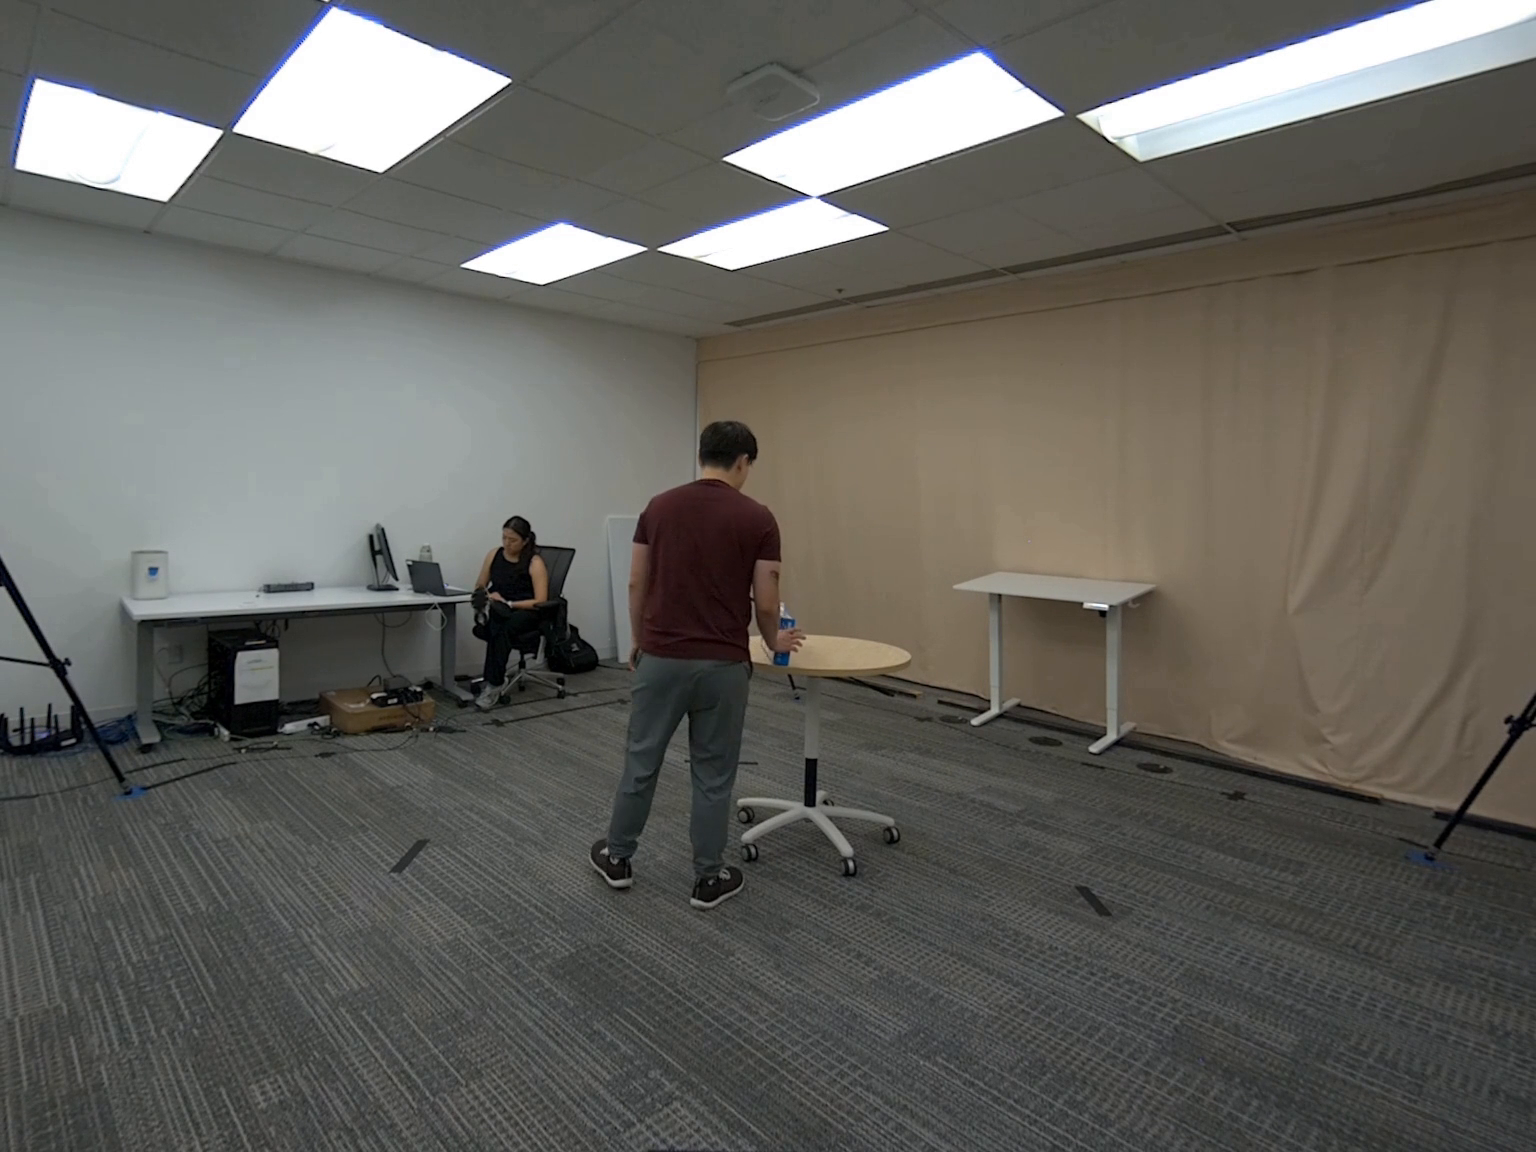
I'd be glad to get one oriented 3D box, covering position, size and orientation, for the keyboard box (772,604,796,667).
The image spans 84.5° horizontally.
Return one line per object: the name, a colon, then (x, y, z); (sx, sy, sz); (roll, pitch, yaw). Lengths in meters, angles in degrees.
keyboard box: (0.029, 0.224, 3.289); (0.059, 0.175, 0.440); (2, 5, -6)
